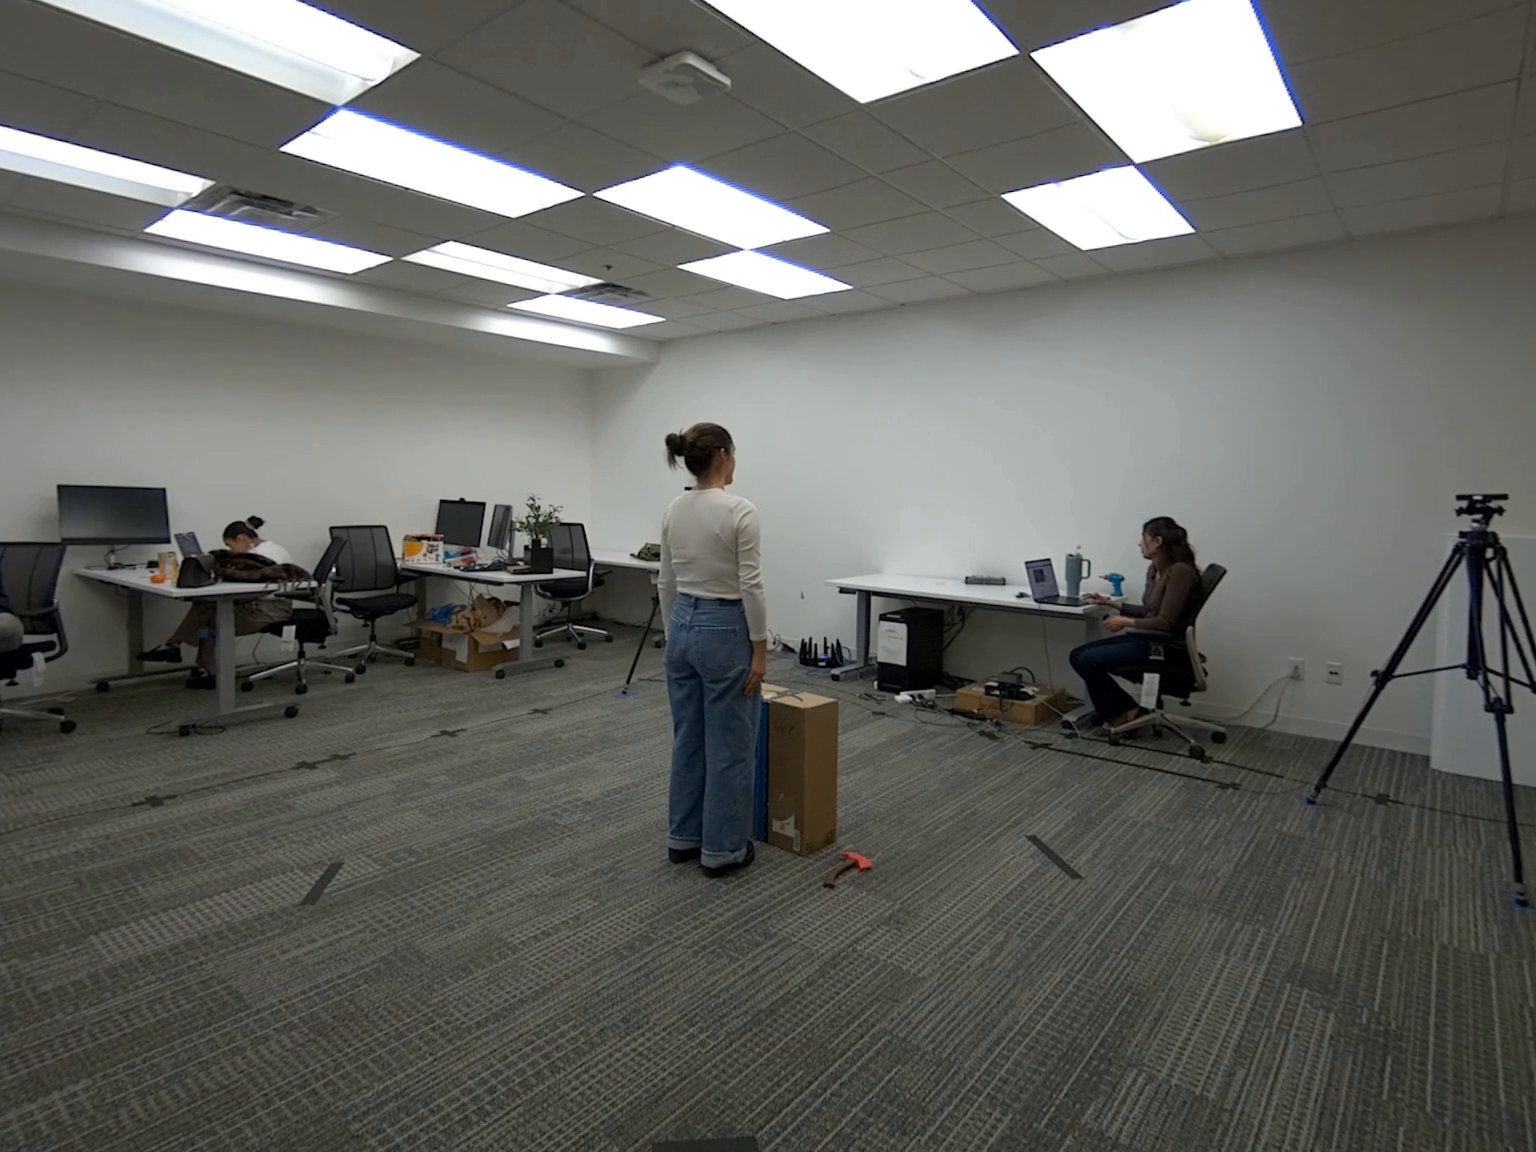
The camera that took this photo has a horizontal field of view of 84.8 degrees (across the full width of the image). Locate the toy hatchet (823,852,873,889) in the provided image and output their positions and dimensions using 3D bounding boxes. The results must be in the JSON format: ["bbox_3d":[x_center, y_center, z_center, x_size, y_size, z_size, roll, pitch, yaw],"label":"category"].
[{"bbox_3d":[0.286,1.070,3.070,0.134,0.029,0.266,7,10,19],"label":"toy hatchet"}]
